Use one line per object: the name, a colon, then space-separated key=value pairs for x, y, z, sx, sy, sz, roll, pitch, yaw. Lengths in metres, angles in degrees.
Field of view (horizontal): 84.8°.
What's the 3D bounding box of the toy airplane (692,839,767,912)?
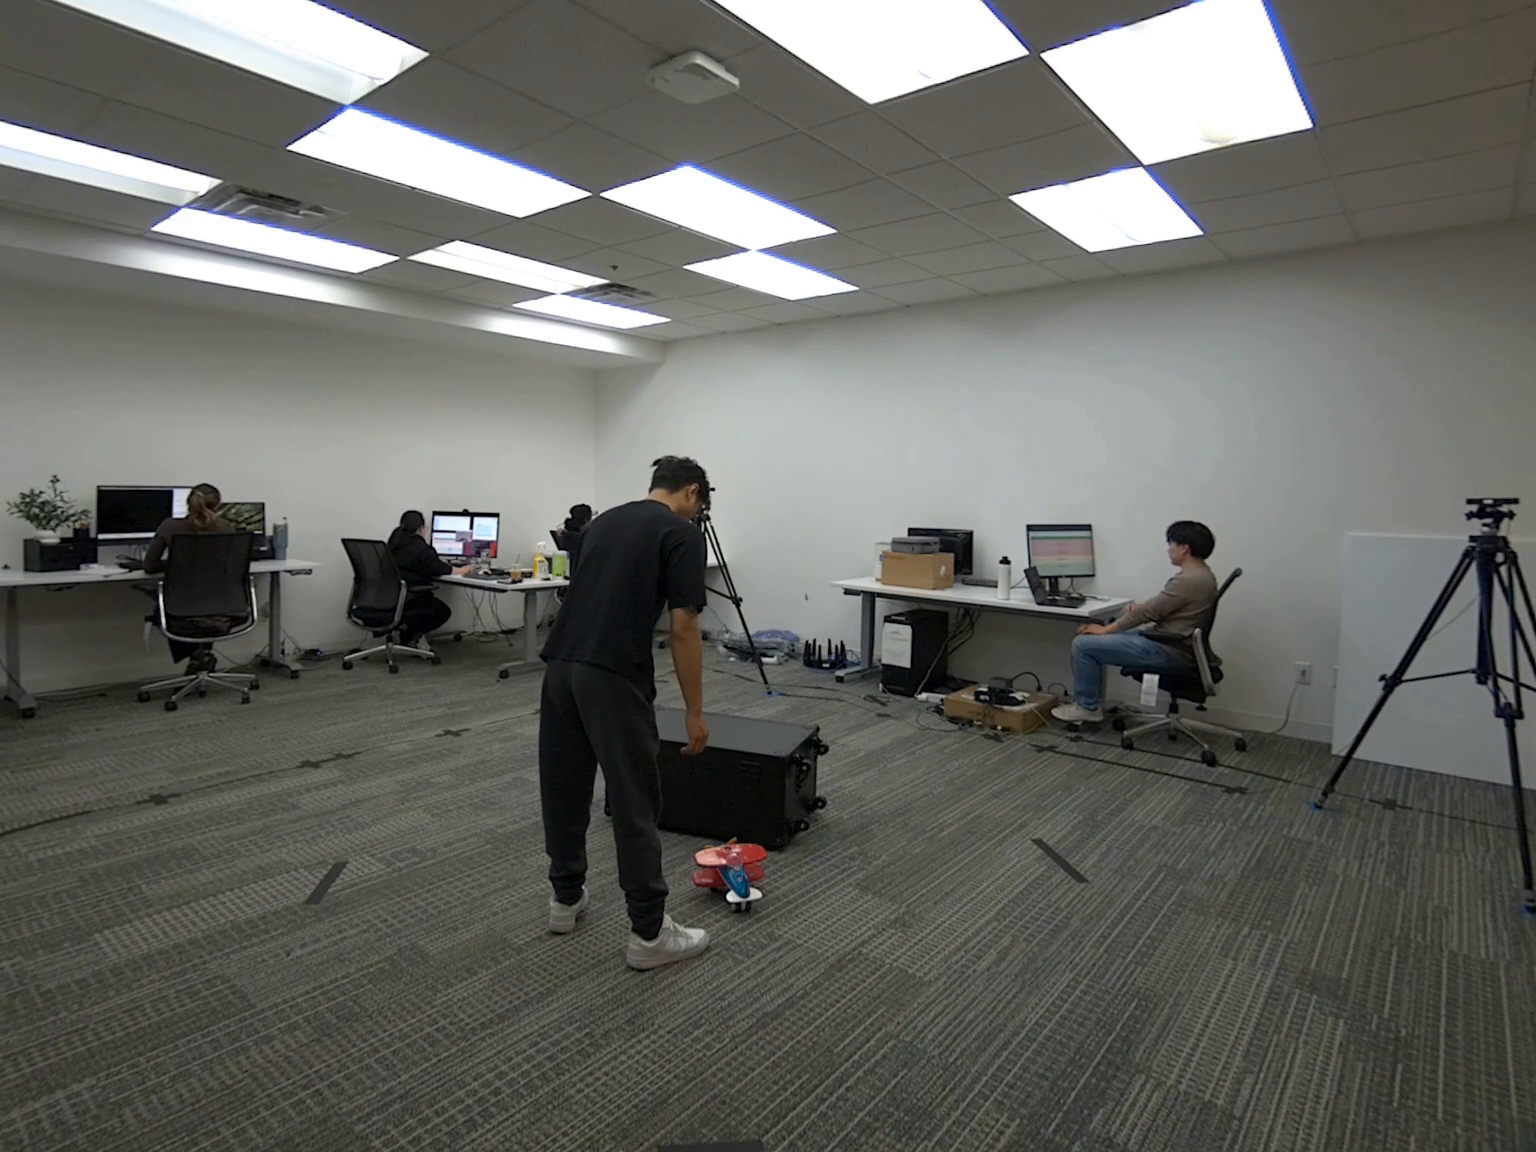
toy airplane: x=-0.114 y=1.011 z=2.892 sx=0.268 sy=0.156 sz=0.243 roll=4 pitch=5 yaw=42
